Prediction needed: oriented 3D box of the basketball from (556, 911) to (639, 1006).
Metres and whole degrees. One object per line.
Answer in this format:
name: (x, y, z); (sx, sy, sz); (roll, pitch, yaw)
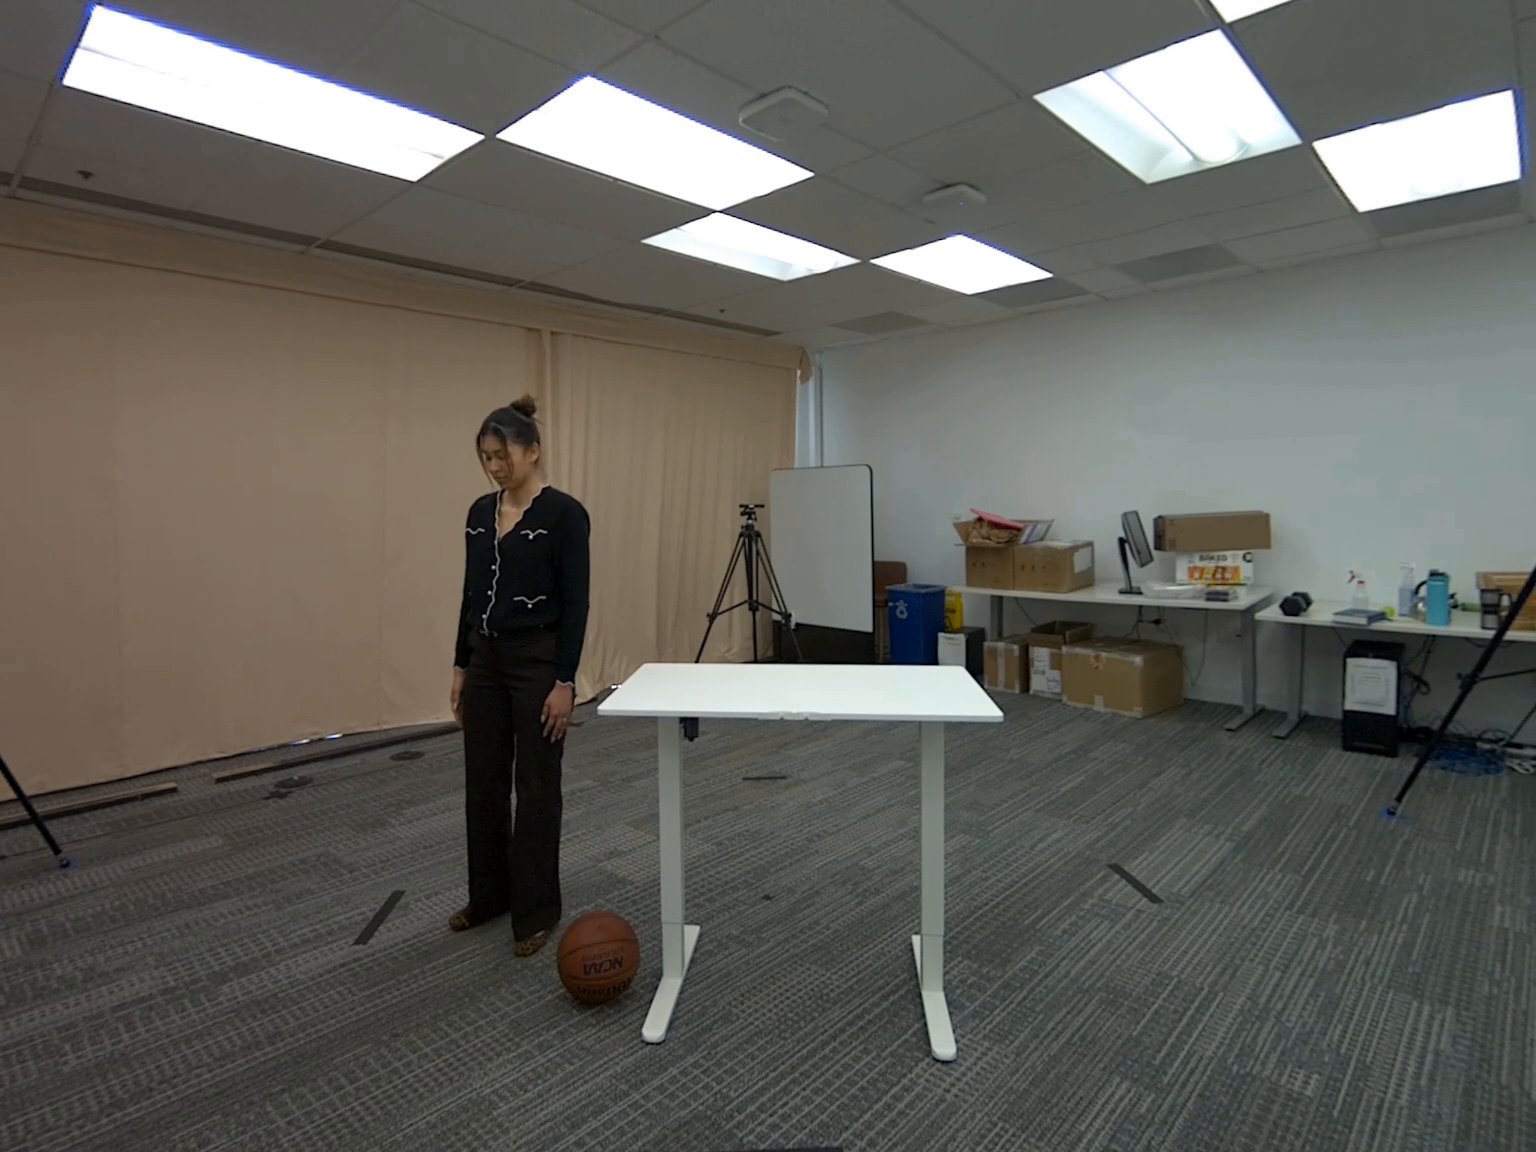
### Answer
basketball: (-0.485, 1.084, 2.391); (0.236, 0.235, 0.237); (-1, 4, -2)
